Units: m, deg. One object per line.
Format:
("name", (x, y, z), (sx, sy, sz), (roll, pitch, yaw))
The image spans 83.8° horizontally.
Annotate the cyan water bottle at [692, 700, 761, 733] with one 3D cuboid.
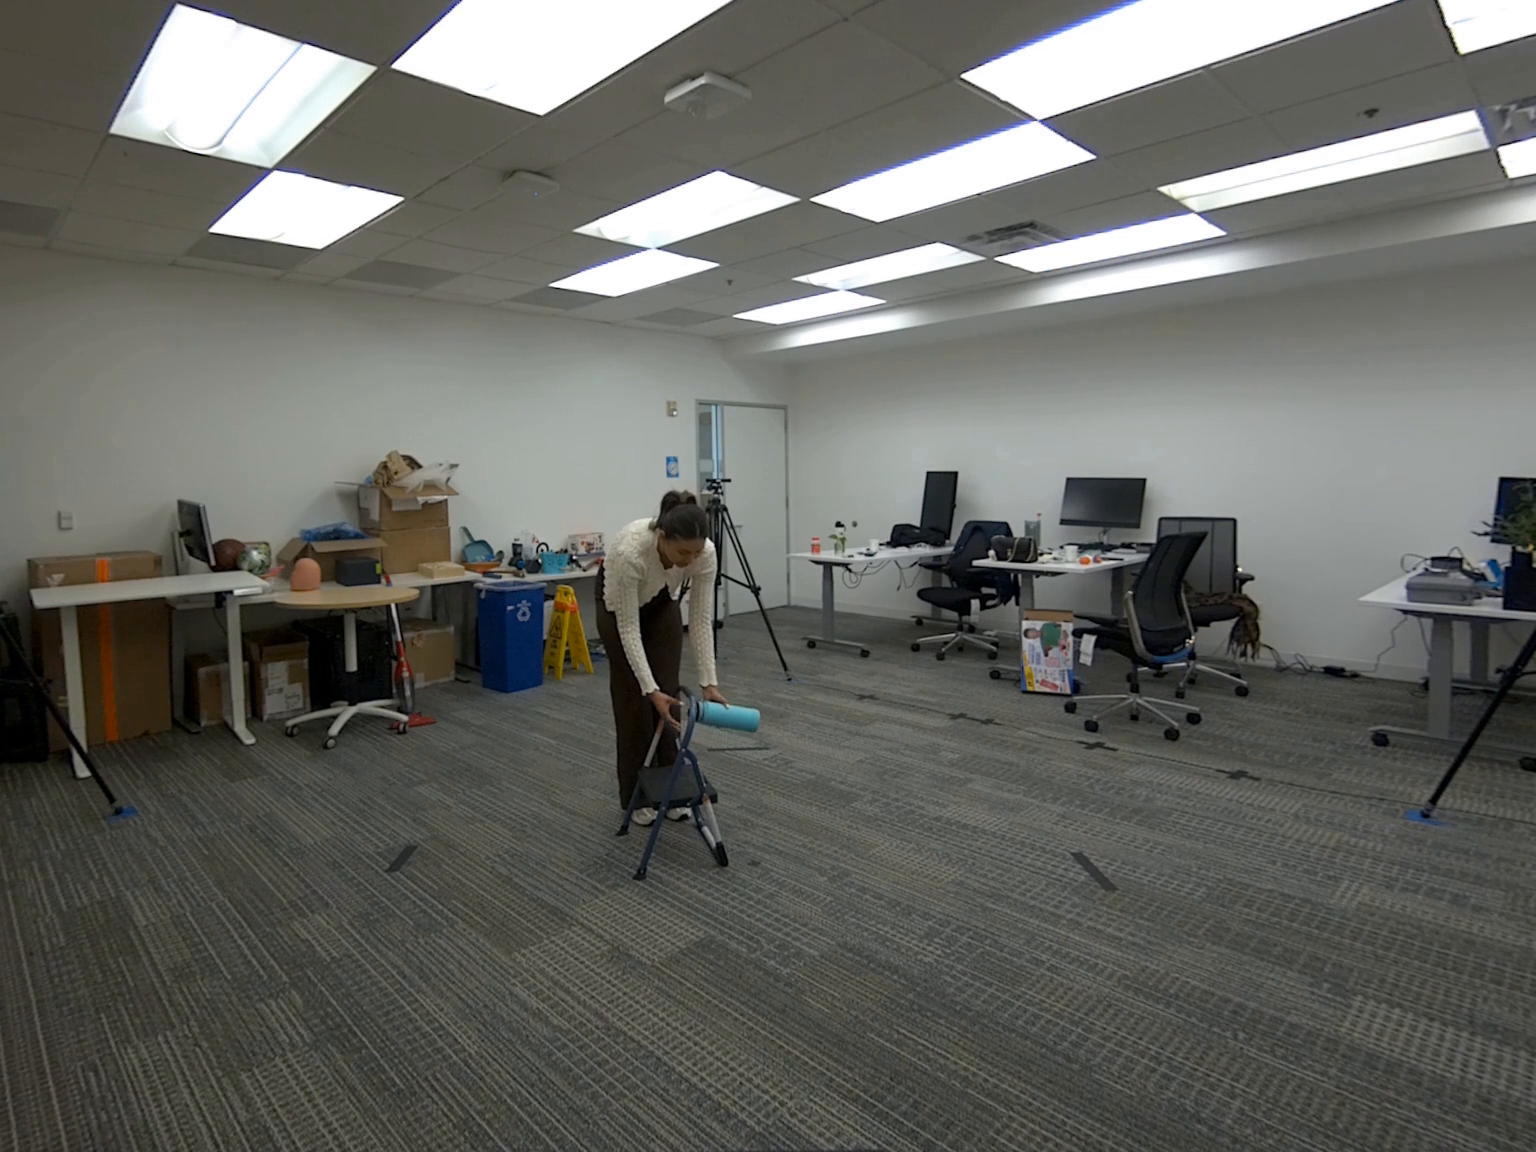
("cyan water bottle", (-0.173, 0.538, 3.319), (0.279, 0.092, 0.094), (11, 2, -13))
